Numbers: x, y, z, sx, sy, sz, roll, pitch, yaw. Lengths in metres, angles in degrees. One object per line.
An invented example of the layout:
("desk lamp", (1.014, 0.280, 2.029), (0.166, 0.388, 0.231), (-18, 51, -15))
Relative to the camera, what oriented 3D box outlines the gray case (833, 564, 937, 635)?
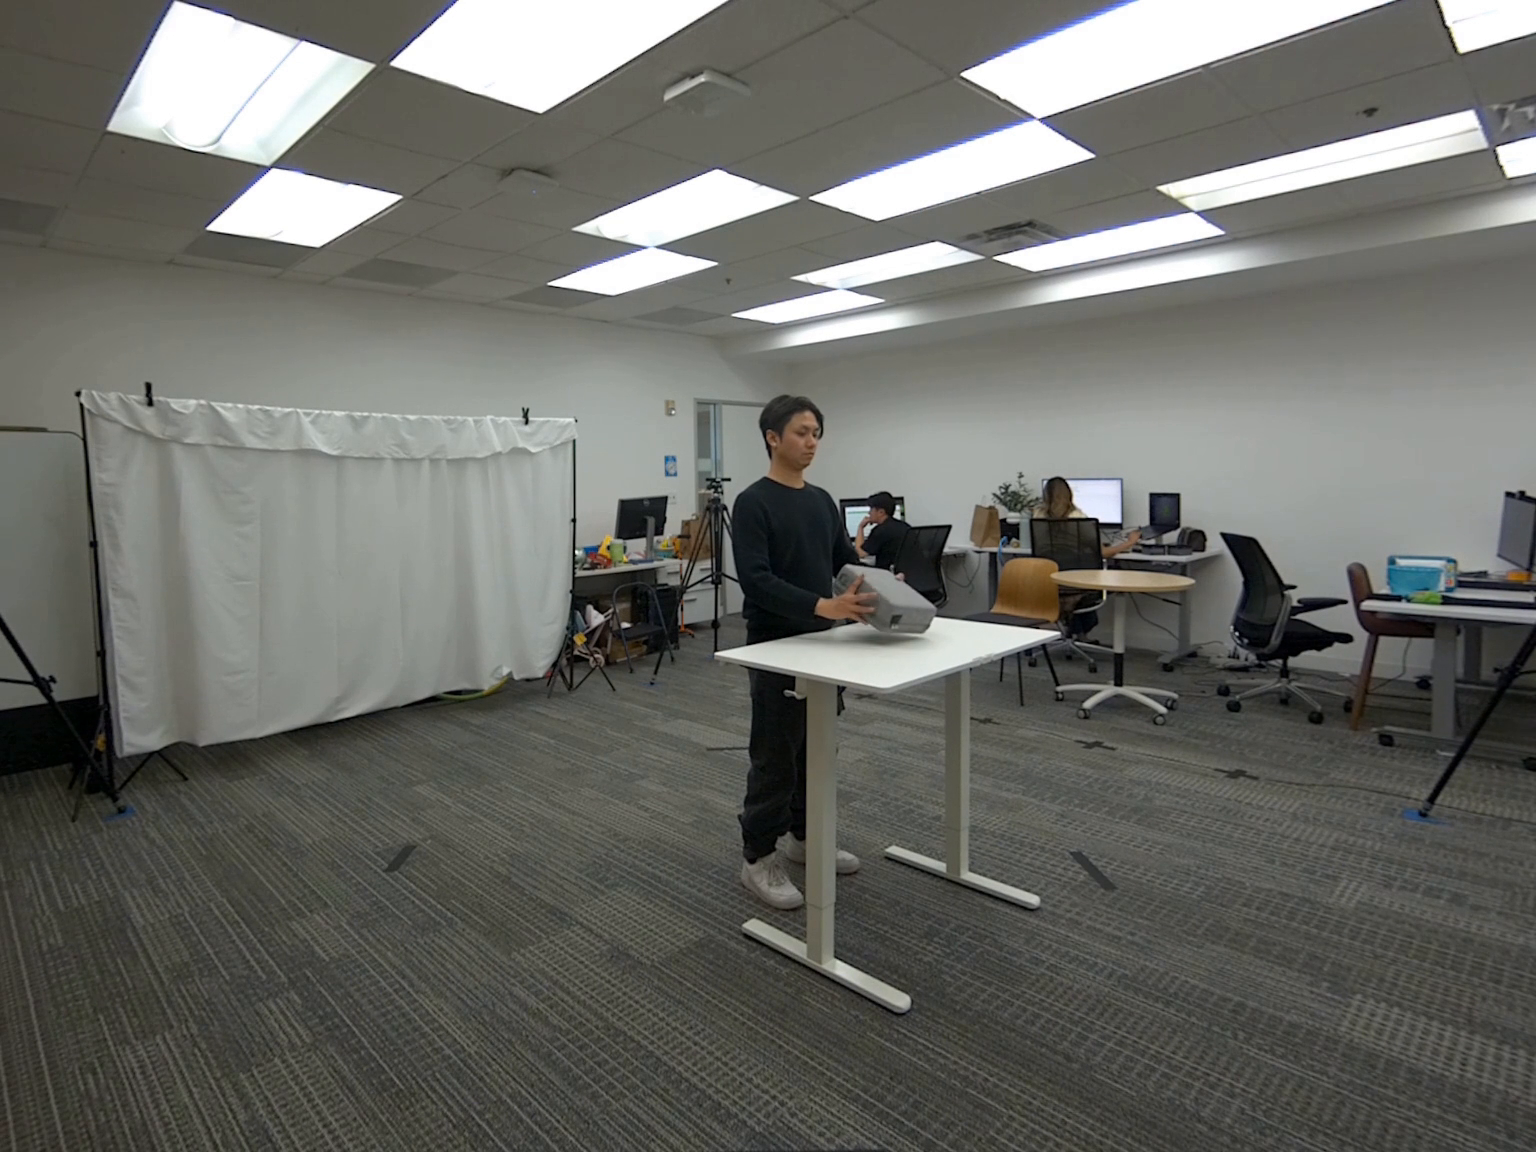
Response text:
("gray case", (0.363, 0.074, 2.702), (0.249, 0.103, 0.271), (4, 28, -44))
